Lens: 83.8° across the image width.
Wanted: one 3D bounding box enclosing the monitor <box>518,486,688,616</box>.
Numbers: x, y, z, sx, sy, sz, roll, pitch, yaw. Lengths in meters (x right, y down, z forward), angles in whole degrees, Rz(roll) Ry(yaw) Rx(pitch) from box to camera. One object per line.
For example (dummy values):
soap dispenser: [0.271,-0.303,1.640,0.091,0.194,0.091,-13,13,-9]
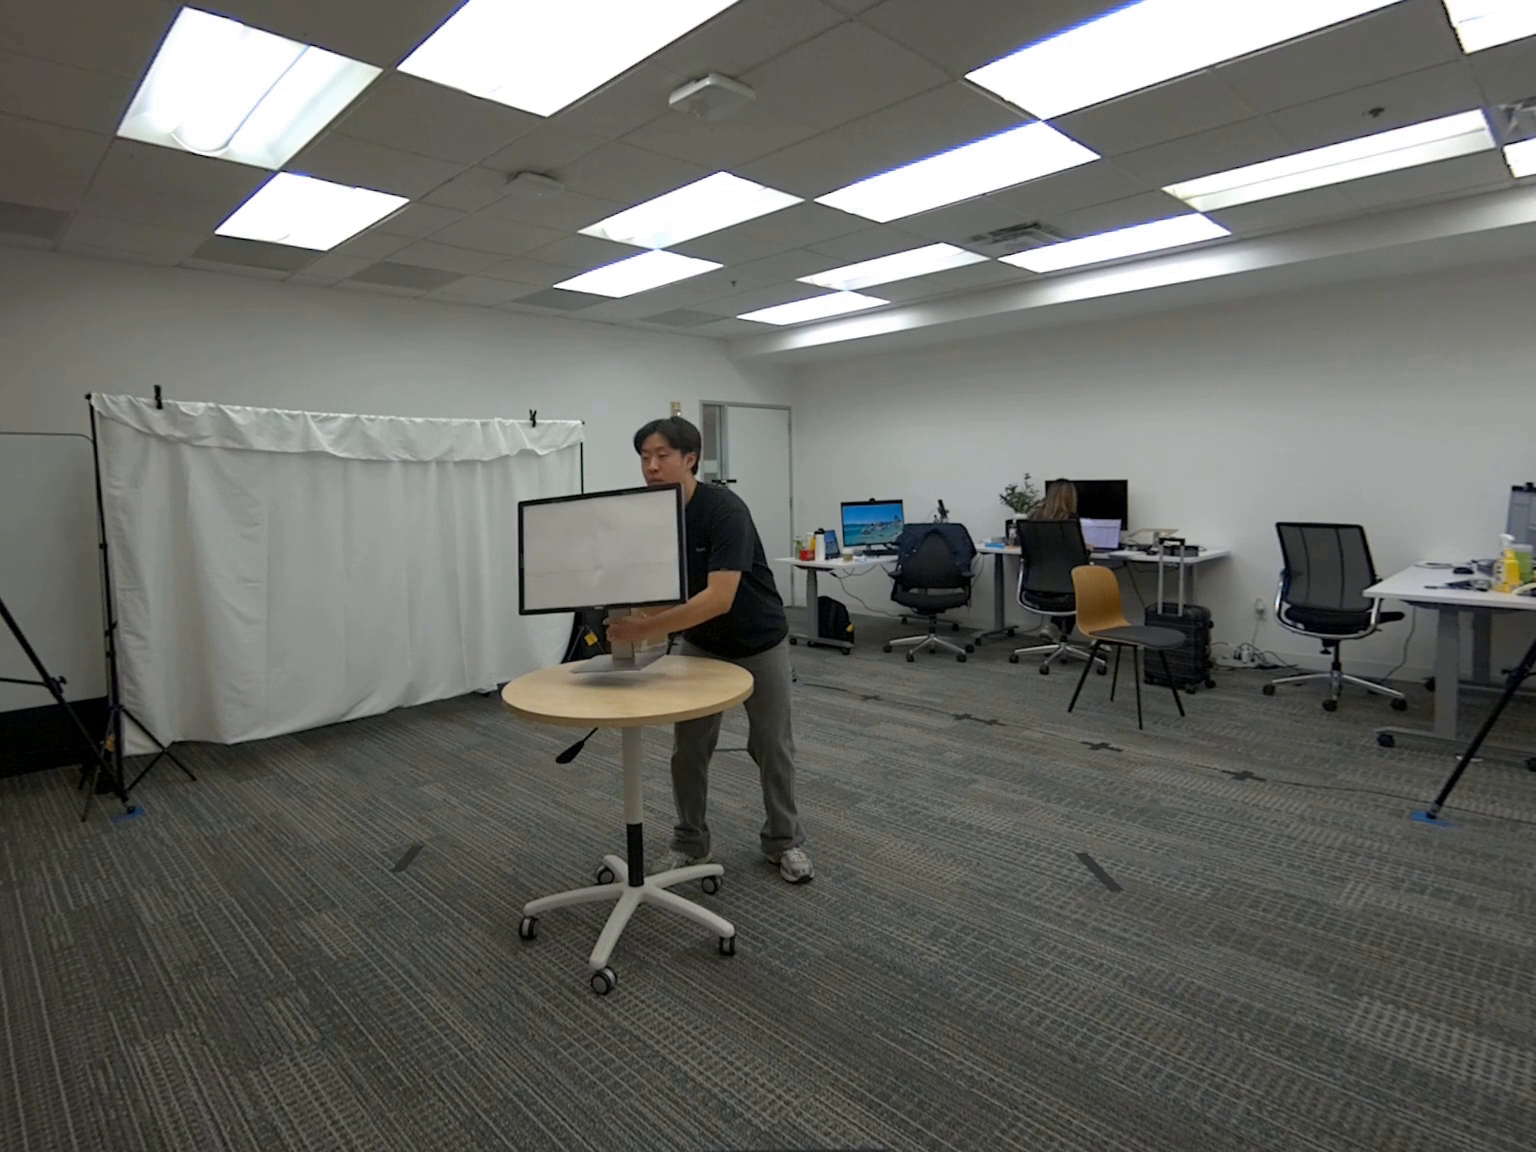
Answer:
monitor: [-0.486,0.023,2.643,0.571,0.563,0.220,-6,6,20]
